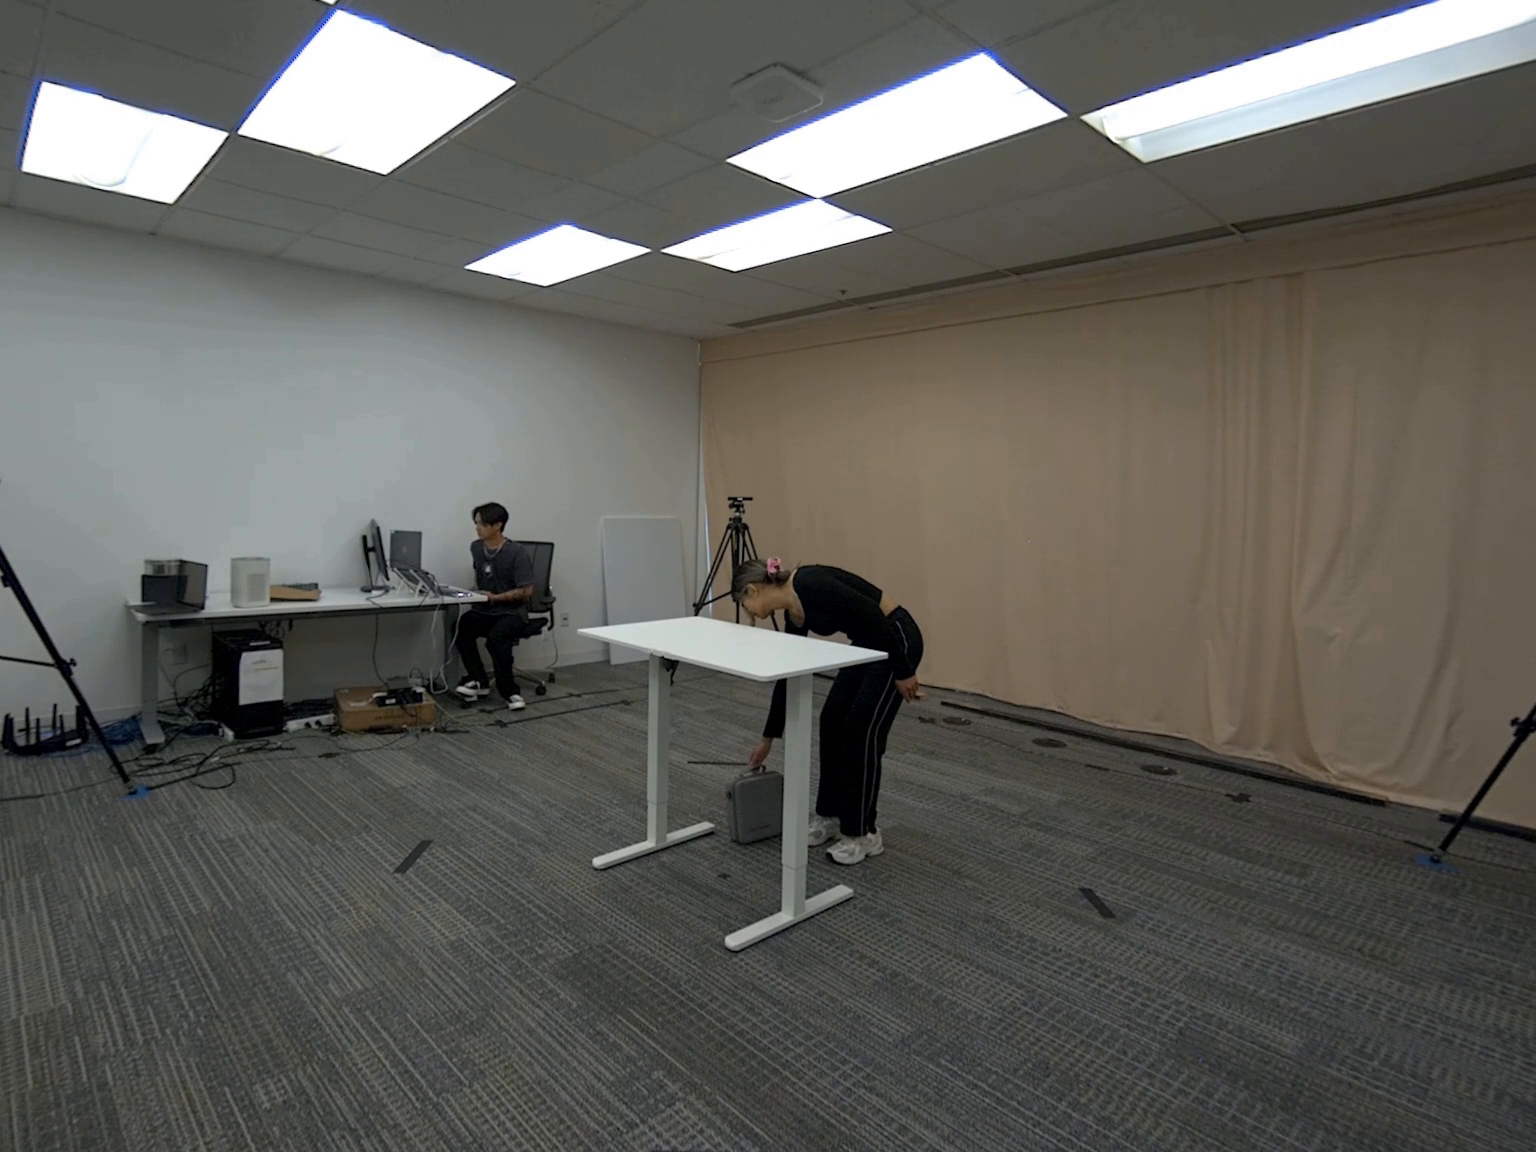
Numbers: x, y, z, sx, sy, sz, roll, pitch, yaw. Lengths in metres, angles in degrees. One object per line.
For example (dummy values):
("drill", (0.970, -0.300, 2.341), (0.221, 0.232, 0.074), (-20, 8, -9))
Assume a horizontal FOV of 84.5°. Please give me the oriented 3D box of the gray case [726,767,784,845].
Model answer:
("gray case", (-0.051, 0.937, 3.473), (0.251, 0.261, 0.106), (-2, -5, -33))
